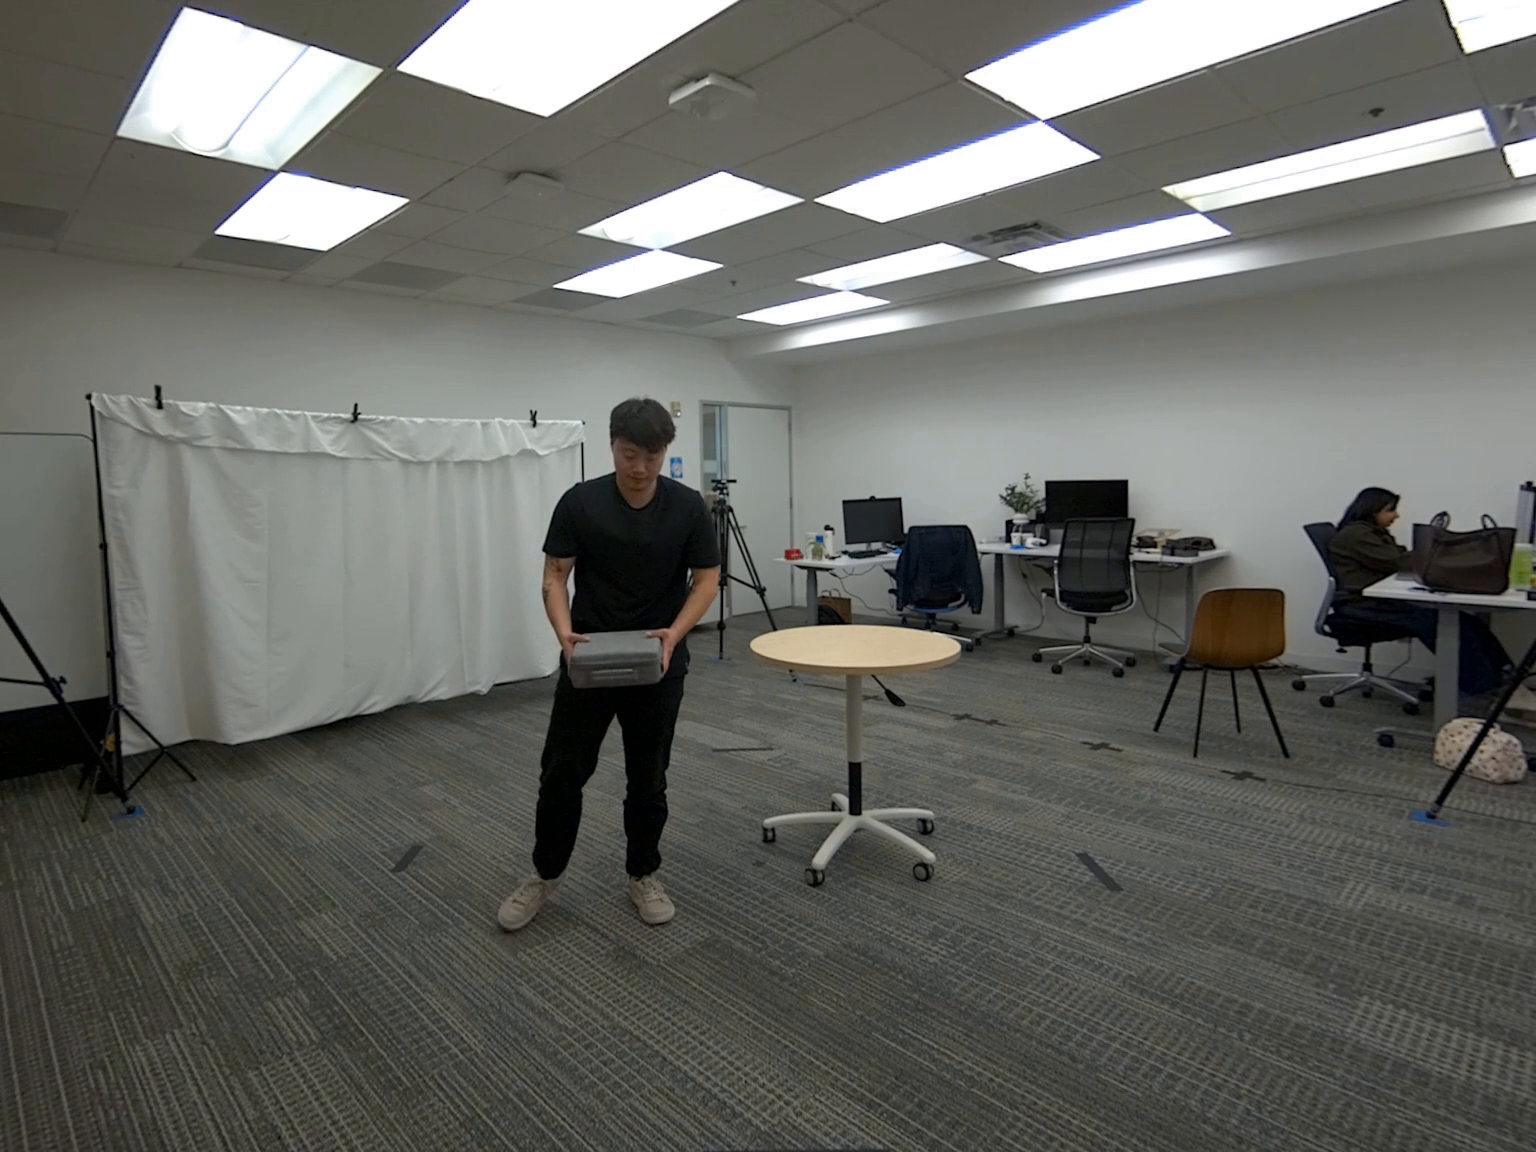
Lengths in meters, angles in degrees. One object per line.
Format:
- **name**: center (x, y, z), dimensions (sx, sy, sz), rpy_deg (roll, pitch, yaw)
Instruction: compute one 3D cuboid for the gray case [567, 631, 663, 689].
- **gray case**: center (-0.436, 0.238, 2.455), dimensions (0.256, 0.103, 0.263), rpy_deg (-2, 10, -2)
